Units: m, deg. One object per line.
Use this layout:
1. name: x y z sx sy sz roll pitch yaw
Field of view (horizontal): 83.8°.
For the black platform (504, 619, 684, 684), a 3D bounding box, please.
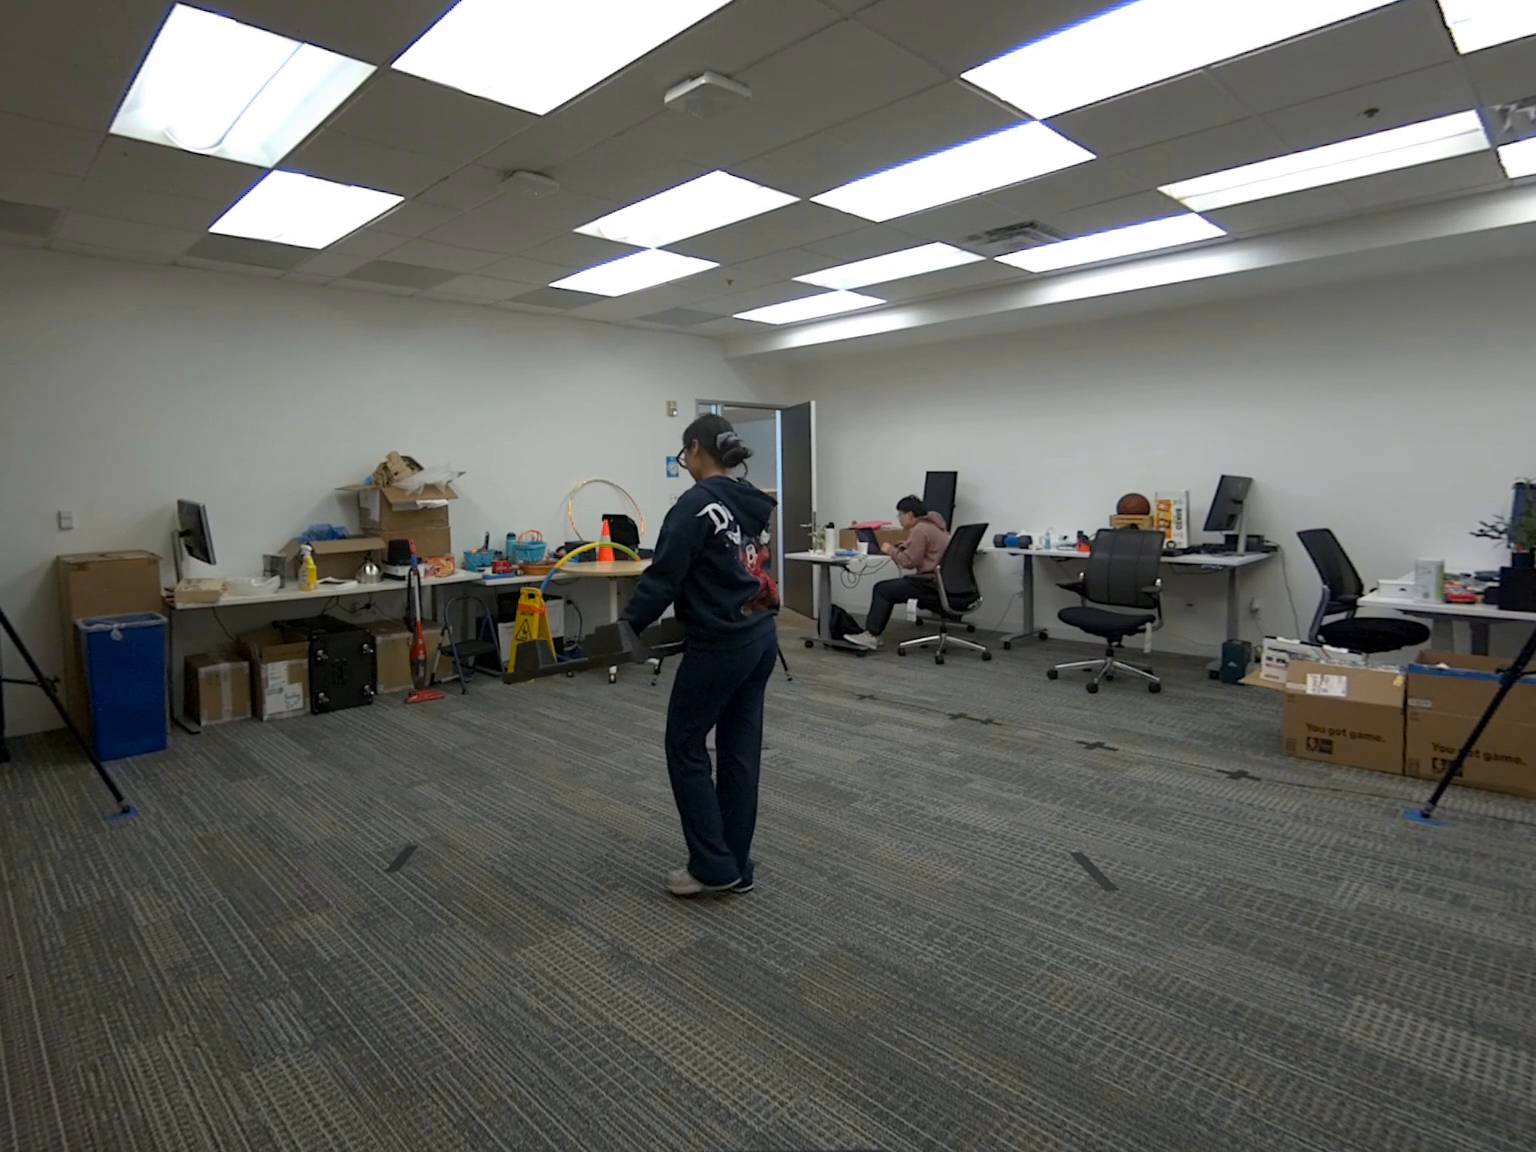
1. black platform: -0.464 0.250 3.081 0.616 0.144 0.785 -14 -6 31
